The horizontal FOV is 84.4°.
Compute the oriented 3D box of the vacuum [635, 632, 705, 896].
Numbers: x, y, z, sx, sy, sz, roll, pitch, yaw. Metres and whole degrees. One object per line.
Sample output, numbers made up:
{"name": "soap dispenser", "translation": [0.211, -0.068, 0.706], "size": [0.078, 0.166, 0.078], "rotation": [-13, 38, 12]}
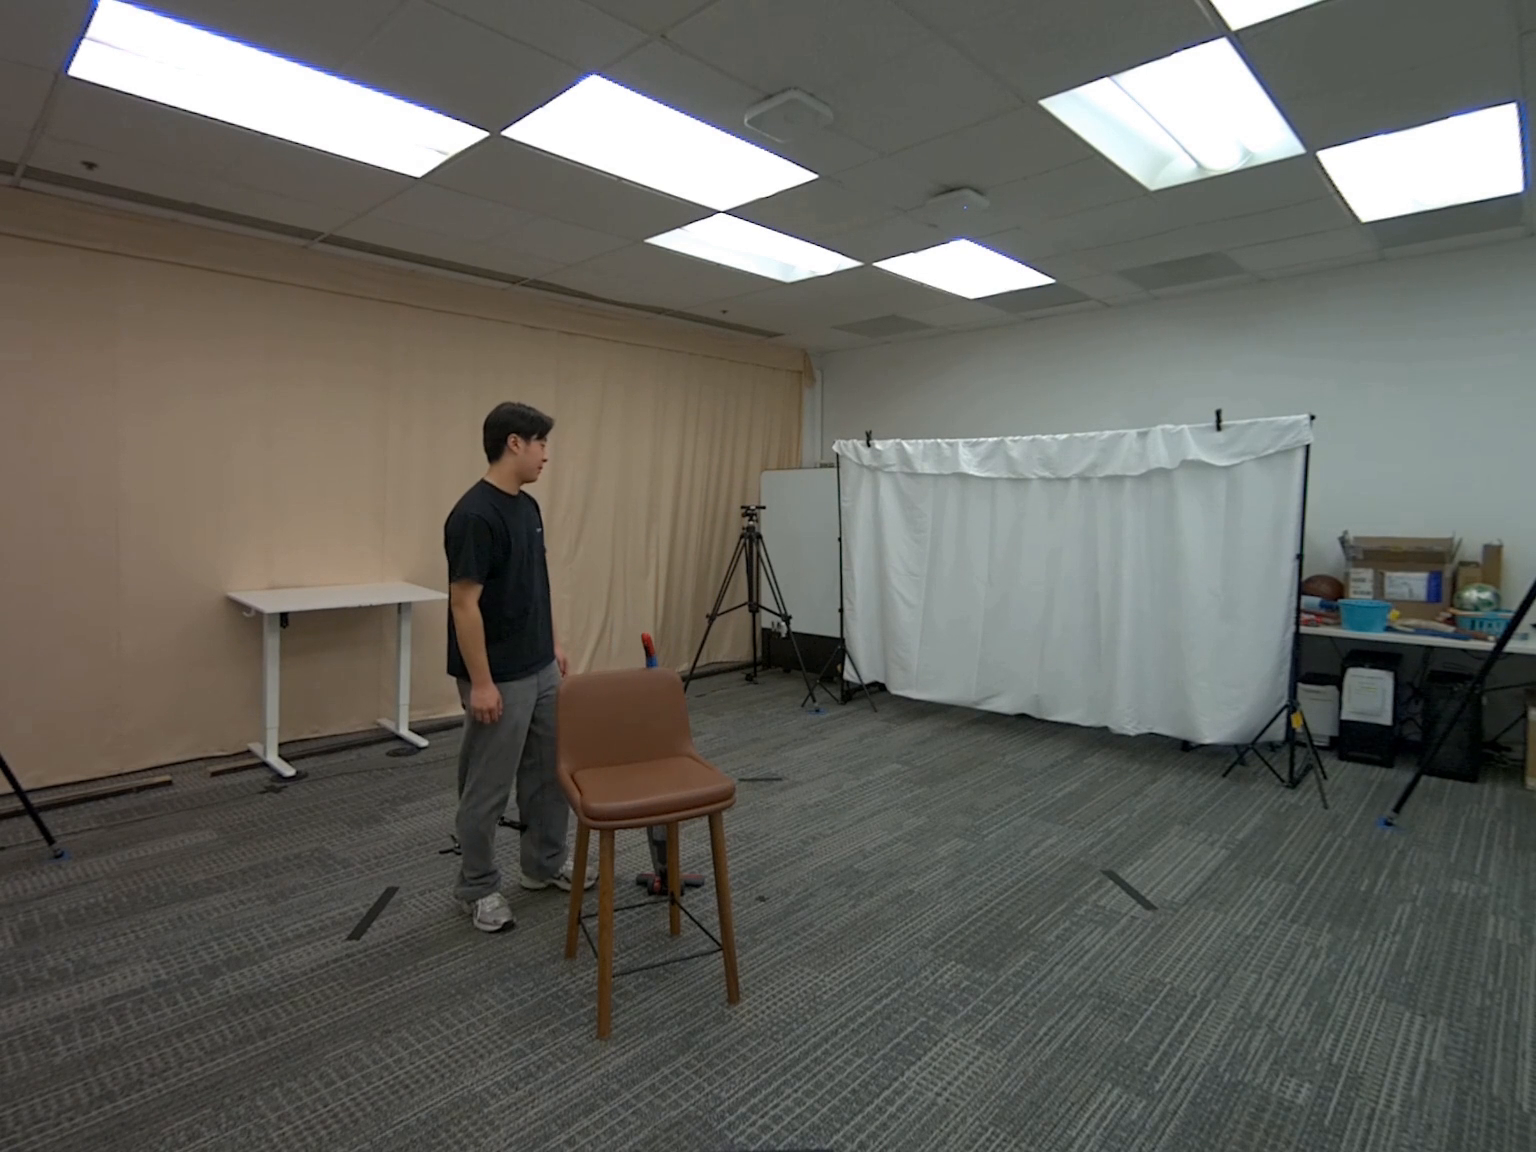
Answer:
{"name": "vacuum", "translation": [-0.378, 0.664, 2.859], "size": [0.252, 1.034, 0.146], "rotation": [-3, 23, -3]}
